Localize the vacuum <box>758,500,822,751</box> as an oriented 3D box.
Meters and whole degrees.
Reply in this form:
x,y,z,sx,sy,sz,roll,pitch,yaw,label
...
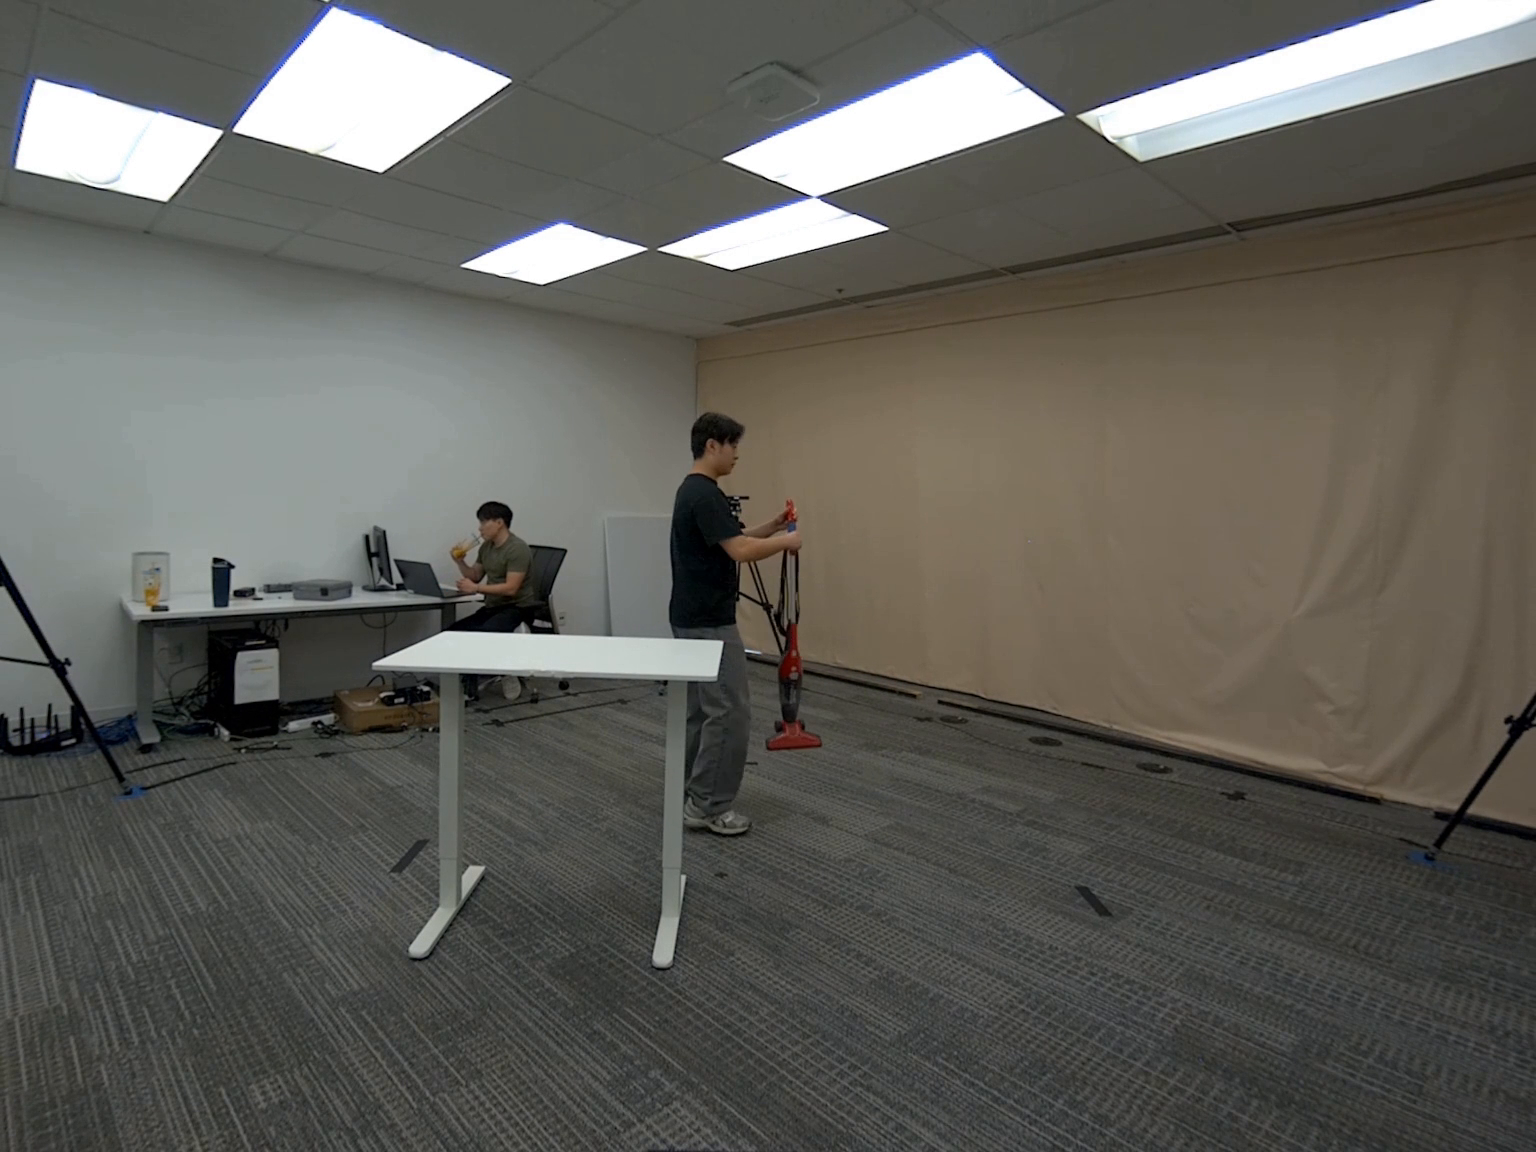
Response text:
x,y,z,sx,sy,sz,roll,pitch,yaw,label
0.090,0.200,3.748,0.249,1.047,0.146,-2,3,-20,vacuum
